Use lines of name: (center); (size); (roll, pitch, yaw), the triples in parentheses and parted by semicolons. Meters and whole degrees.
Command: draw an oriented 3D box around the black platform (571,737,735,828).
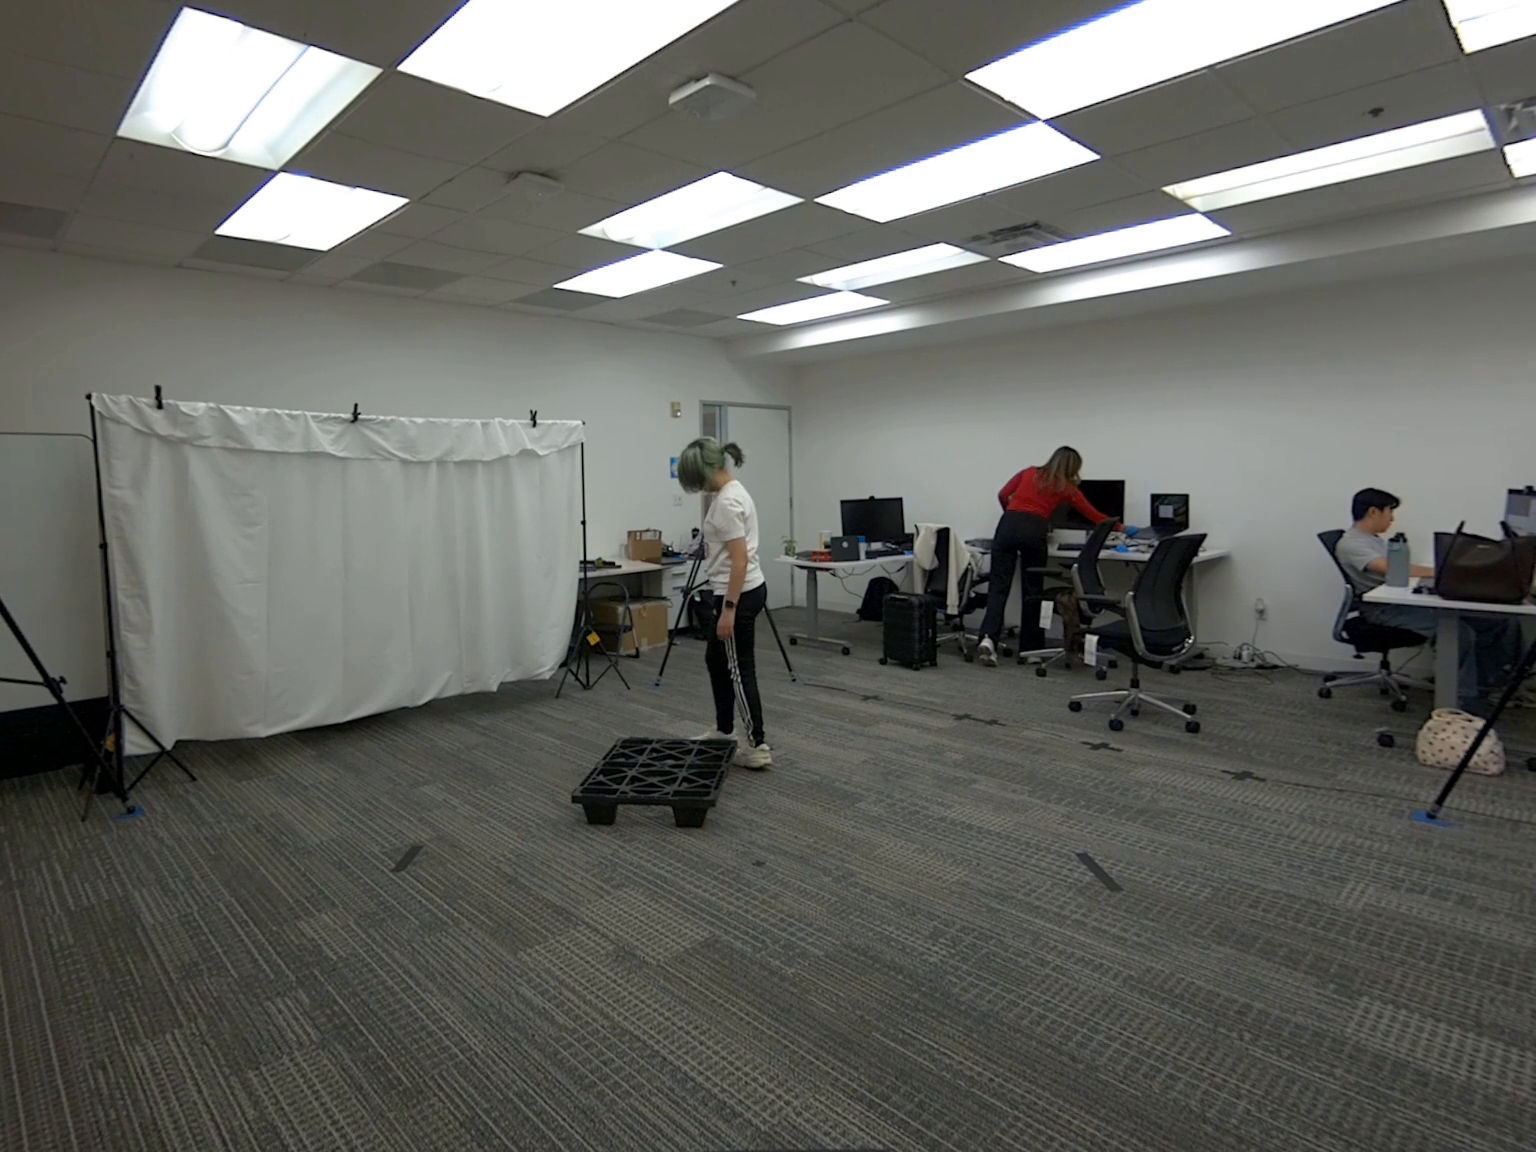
black platform: (-0.473, 0.907, 3.823); (0.609, 0.143, 0.803); (-2, 6, 6)
